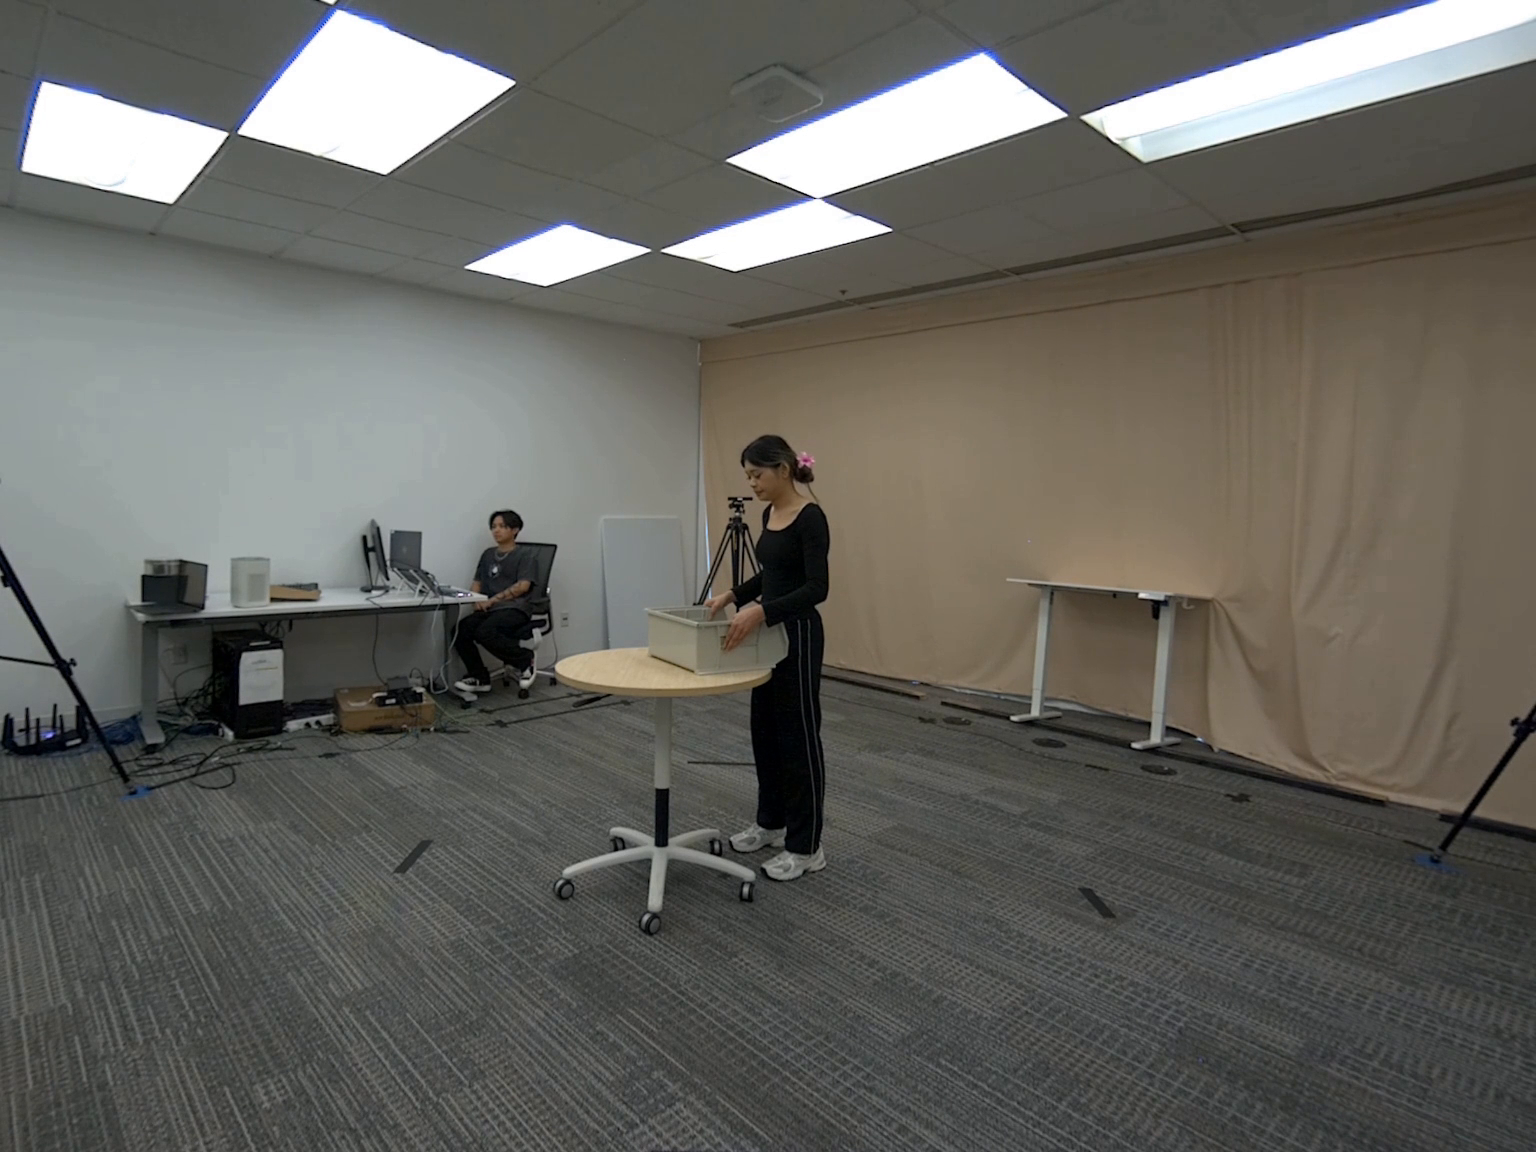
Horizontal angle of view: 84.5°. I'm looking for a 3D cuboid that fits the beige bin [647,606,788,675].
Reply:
[{"bbox_3d":[-0.202,0.217,3.089,0.370,0.188,0.432,-5,7,-31],"label":"beige bin"}]
